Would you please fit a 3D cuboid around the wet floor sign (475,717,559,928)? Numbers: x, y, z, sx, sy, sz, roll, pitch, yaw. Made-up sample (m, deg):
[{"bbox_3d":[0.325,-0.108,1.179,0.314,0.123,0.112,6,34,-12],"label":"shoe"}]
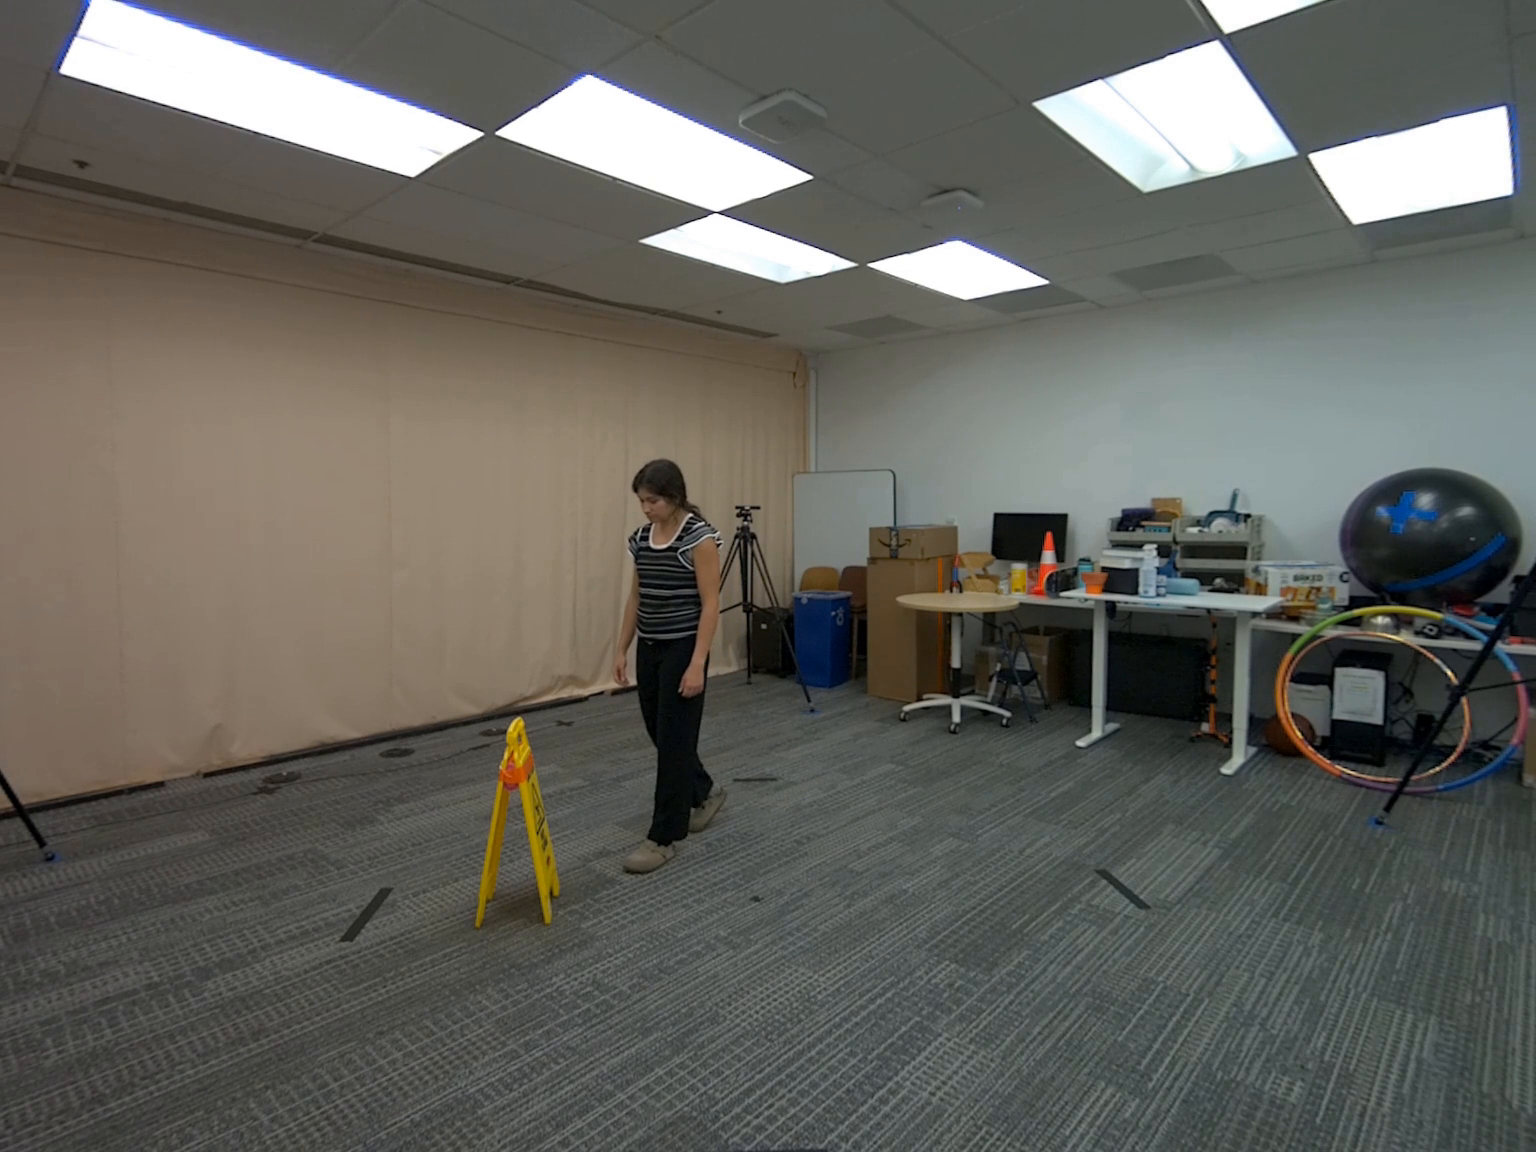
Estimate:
[{"bbox_3d":[-0.876,0.831,2.916,0.288,0.645,0.284,0,2,-6],"label":"wet floor sign"}]
